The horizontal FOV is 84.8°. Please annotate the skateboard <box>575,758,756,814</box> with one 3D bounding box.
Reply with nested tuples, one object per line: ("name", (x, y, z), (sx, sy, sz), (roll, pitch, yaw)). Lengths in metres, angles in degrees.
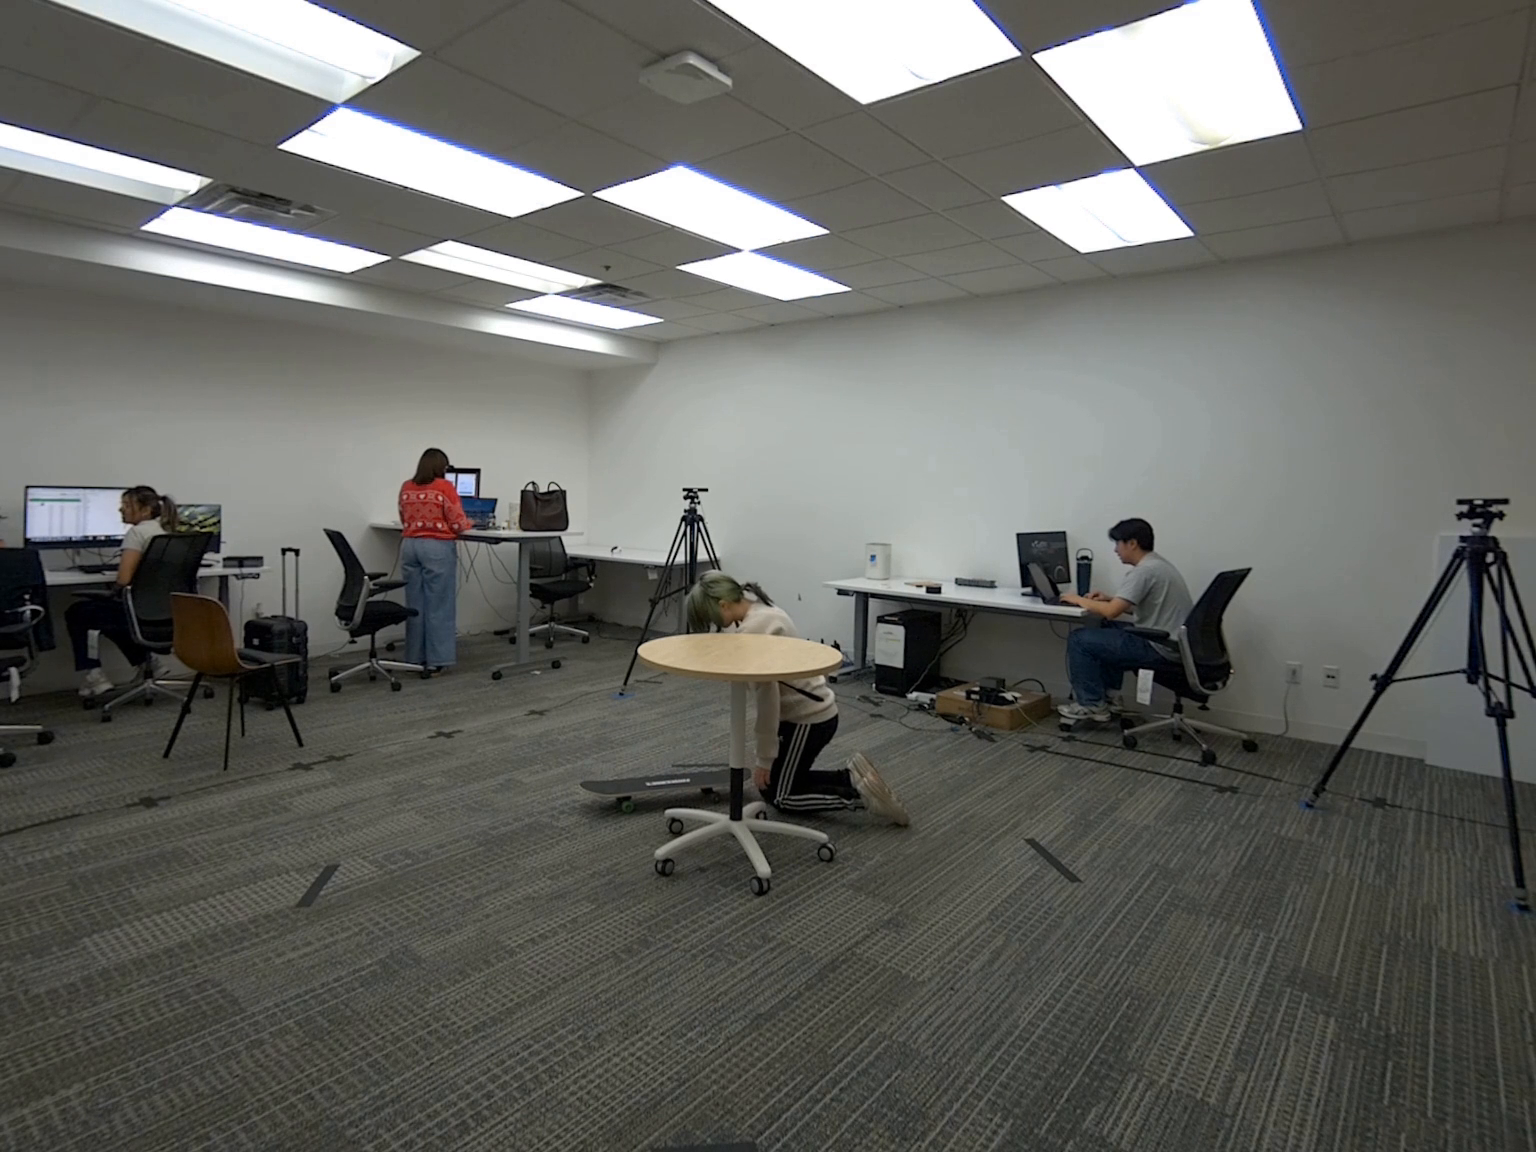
("skateboard", (-0.457, 0.934, 3.772), (0.770, 0.110, 0.198), (-1, 5, -19))
